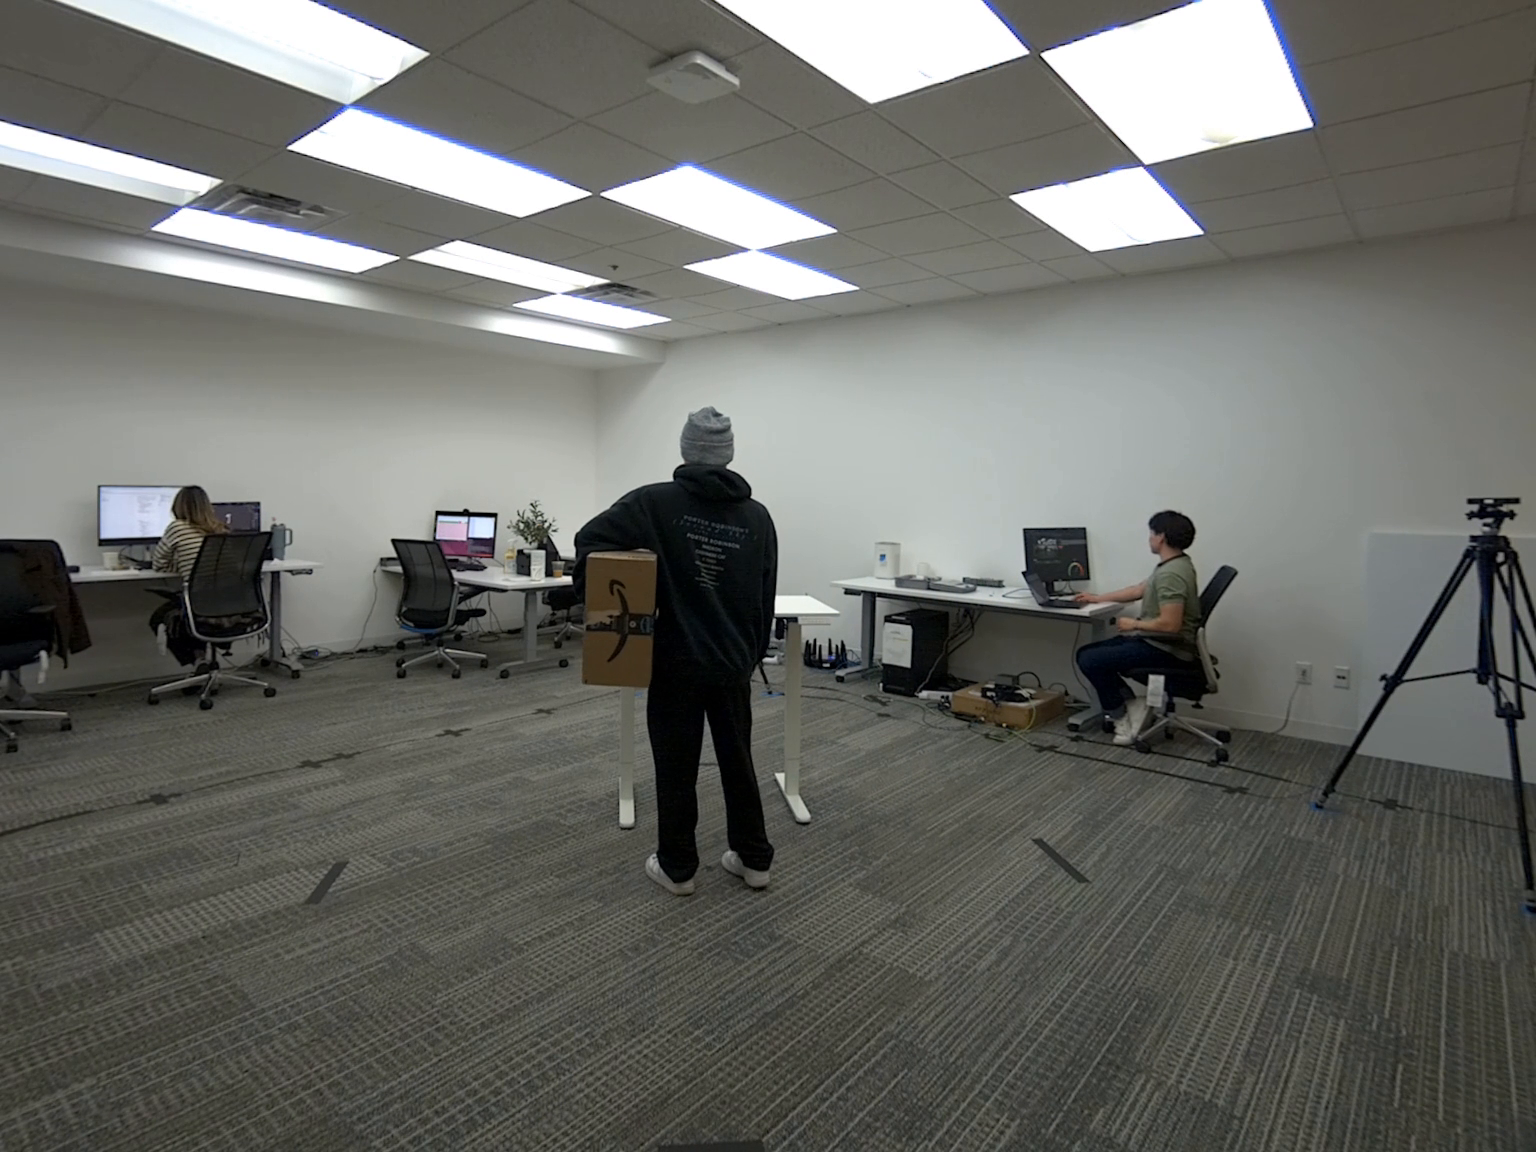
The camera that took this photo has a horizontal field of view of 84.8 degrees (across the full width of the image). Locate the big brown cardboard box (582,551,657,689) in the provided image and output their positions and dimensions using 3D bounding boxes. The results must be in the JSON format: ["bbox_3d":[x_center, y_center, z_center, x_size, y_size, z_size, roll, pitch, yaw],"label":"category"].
[{"bbox_3d":[-0.505,0.099,2.964,0.232,0.415,0.595,3,8,-4],"label":"big brown cardboard box"}]
